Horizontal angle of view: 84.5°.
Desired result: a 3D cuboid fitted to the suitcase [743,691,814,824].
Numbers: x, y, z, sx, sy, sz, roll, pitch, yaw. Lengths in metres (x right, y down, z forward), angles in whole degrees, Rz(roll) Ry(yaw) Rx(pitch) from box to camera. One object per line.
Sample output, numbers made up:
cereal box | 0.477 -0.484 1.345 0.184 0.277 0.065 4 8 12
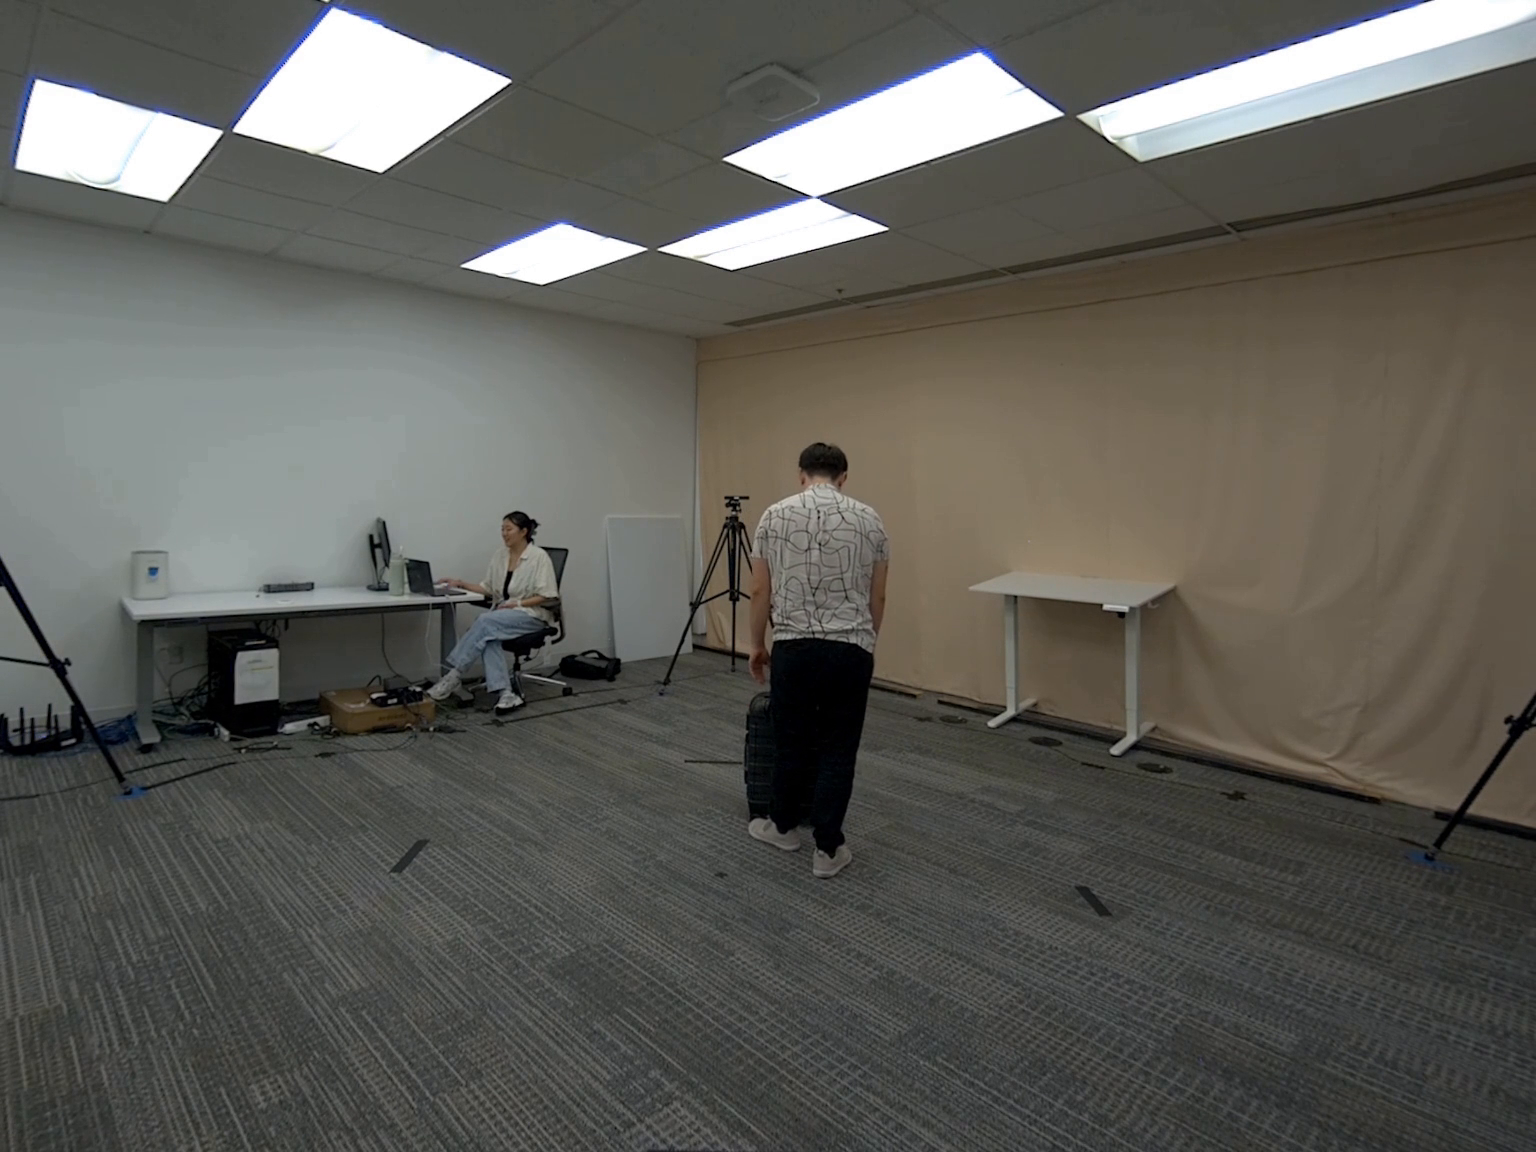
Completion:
suitcase | 0.084 0.785 3.677 0.378 0.548 0.247 1 3 7
